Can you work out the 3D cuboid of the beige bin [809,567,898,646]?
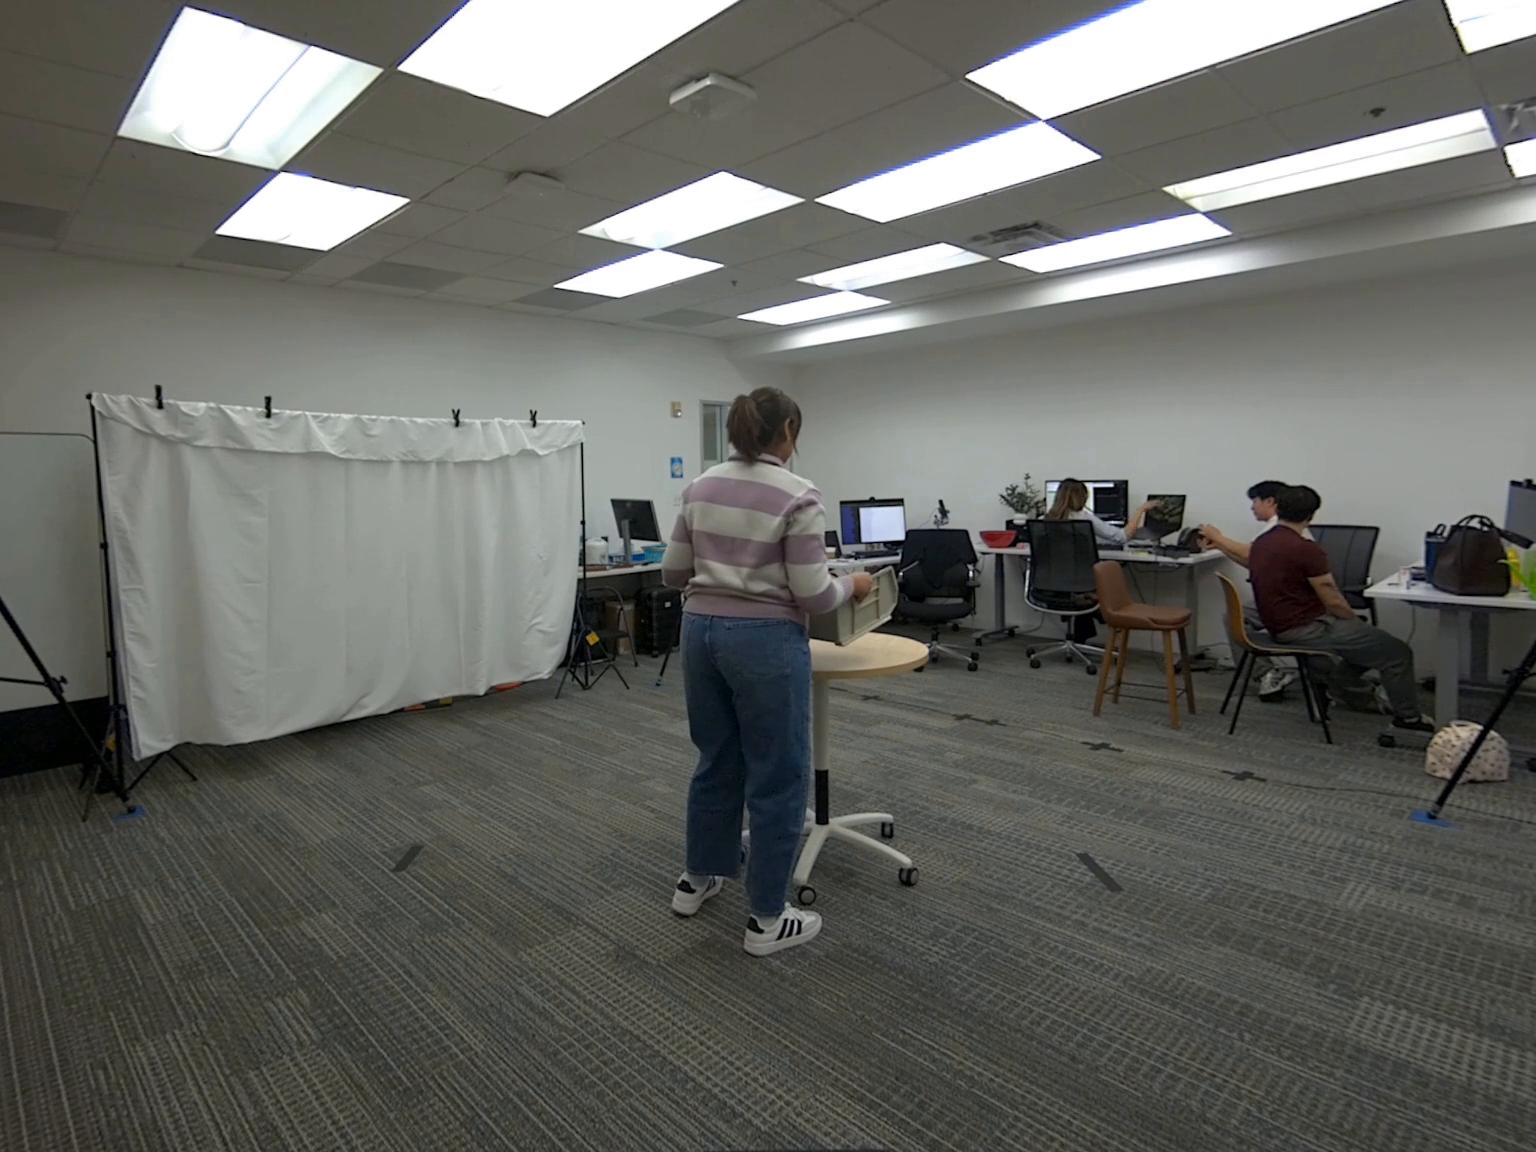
[{"bbox_3d":[0.164,0.071,2.885,0.435,0.186,0.371,6,18,36],"label":"beige bin"}]
